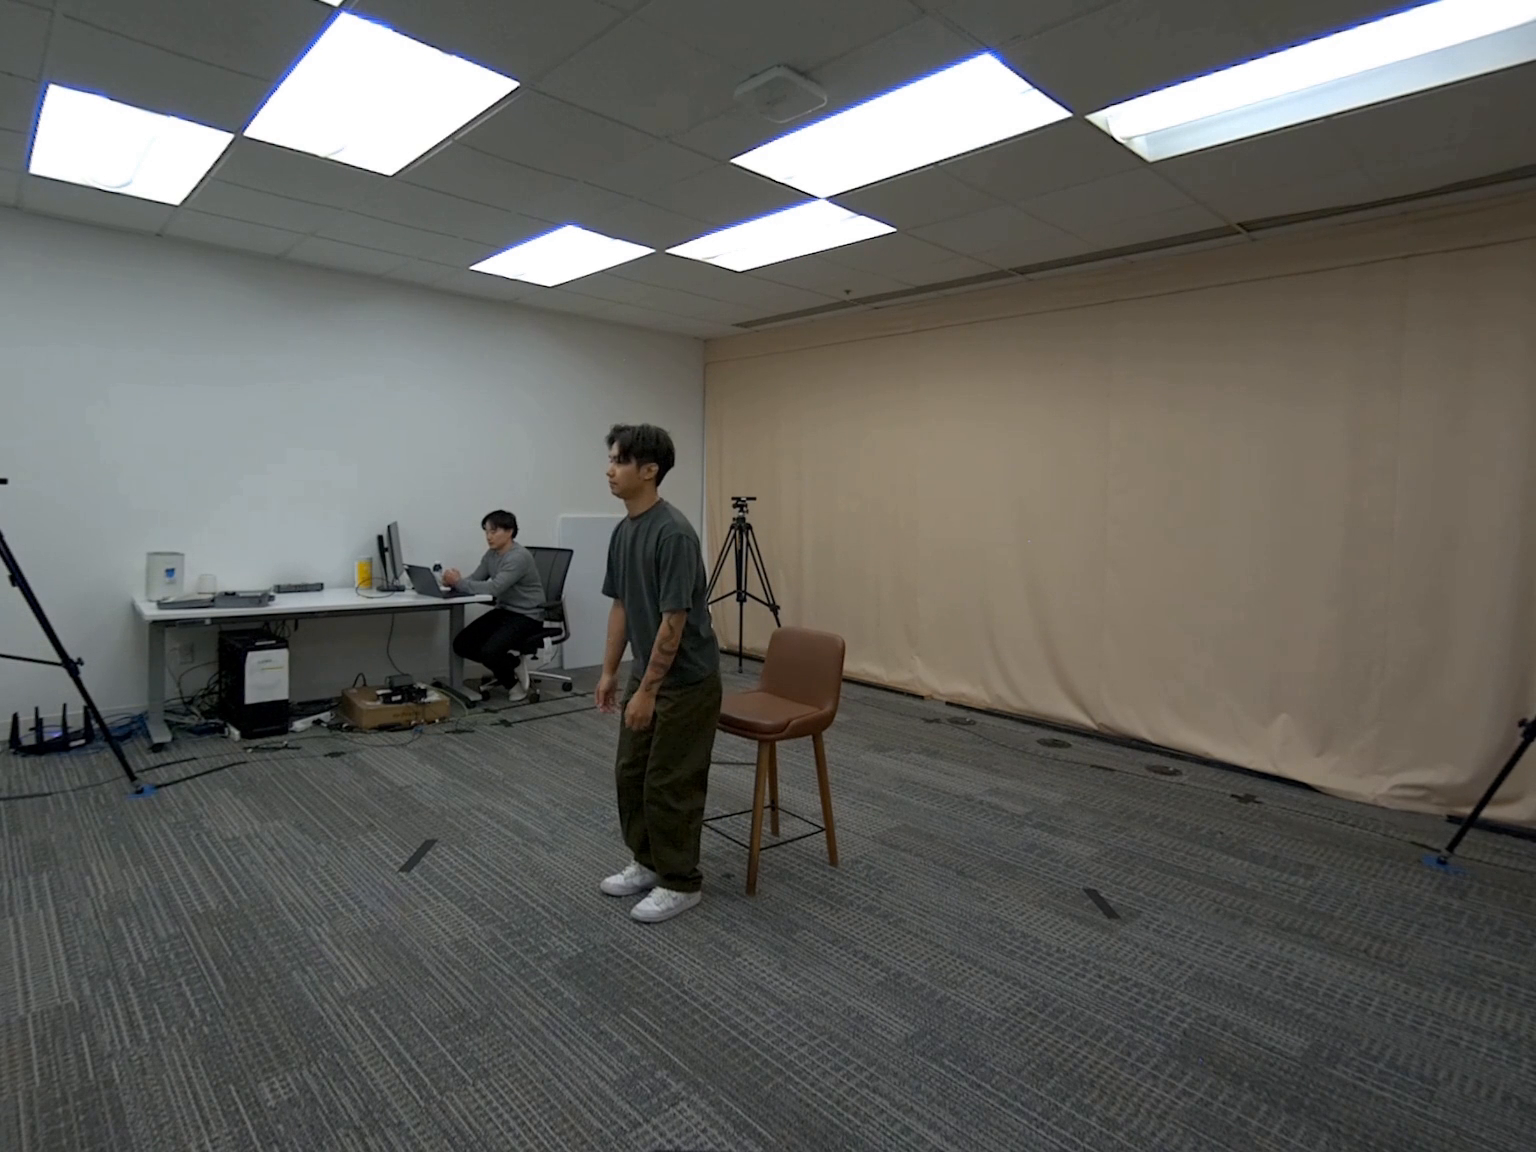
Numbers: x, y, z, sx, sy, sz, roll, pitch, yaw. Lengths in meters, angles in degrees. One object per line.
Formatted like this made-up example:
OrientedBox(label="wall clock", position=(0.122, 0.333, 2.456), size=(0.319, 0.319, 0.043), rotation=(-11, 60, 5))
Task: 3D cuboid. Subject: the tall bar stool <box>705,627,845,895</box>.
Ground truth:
OrientedBox(label="tall bar stool", position=(-0.006, 0.663, 3.216), size=(0.456, 0.889, 0.468), rotation=(2, 2, -39))
